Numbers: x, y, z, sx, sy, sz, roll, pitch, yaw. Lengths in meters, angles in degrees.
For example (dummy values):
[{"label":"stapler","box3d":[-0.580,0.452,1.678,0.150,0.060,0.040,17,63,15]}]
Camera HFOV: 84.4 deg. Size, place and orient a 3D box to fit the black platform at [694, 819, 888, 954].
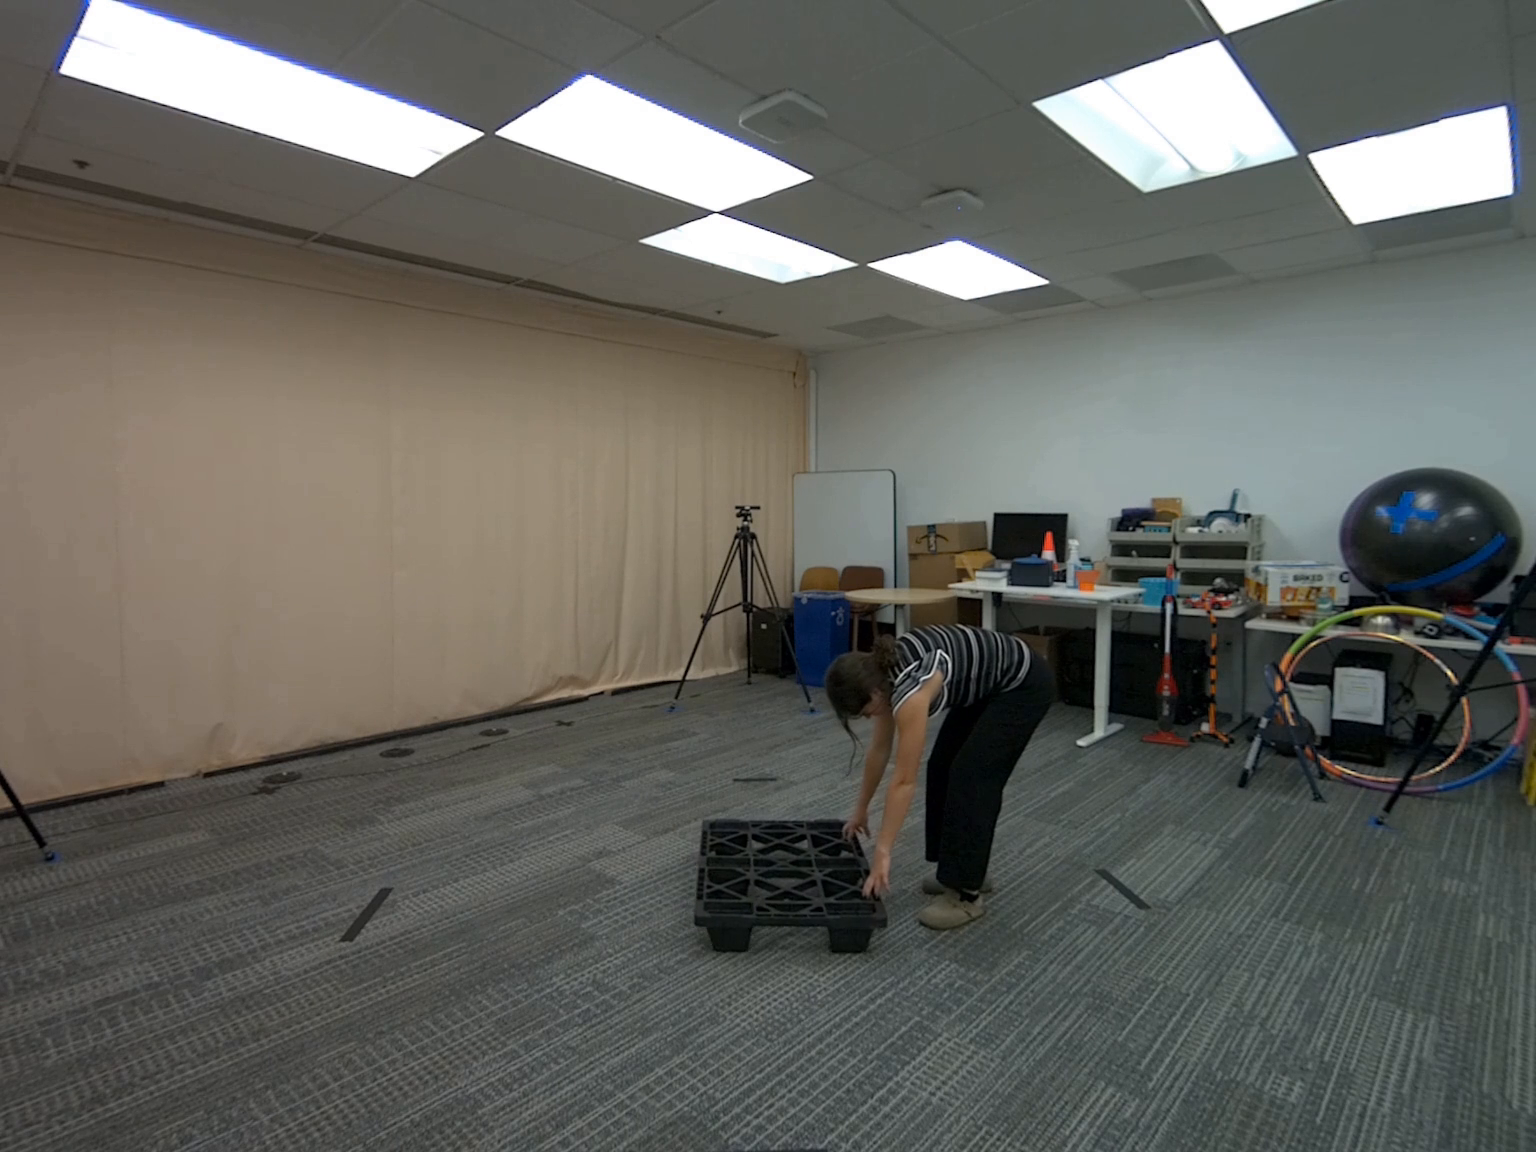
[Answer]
[{"label":"black platform","box3d":[0.054,1.073,2.980,0.605,0.143,0.808,-1,5,-1]}]
